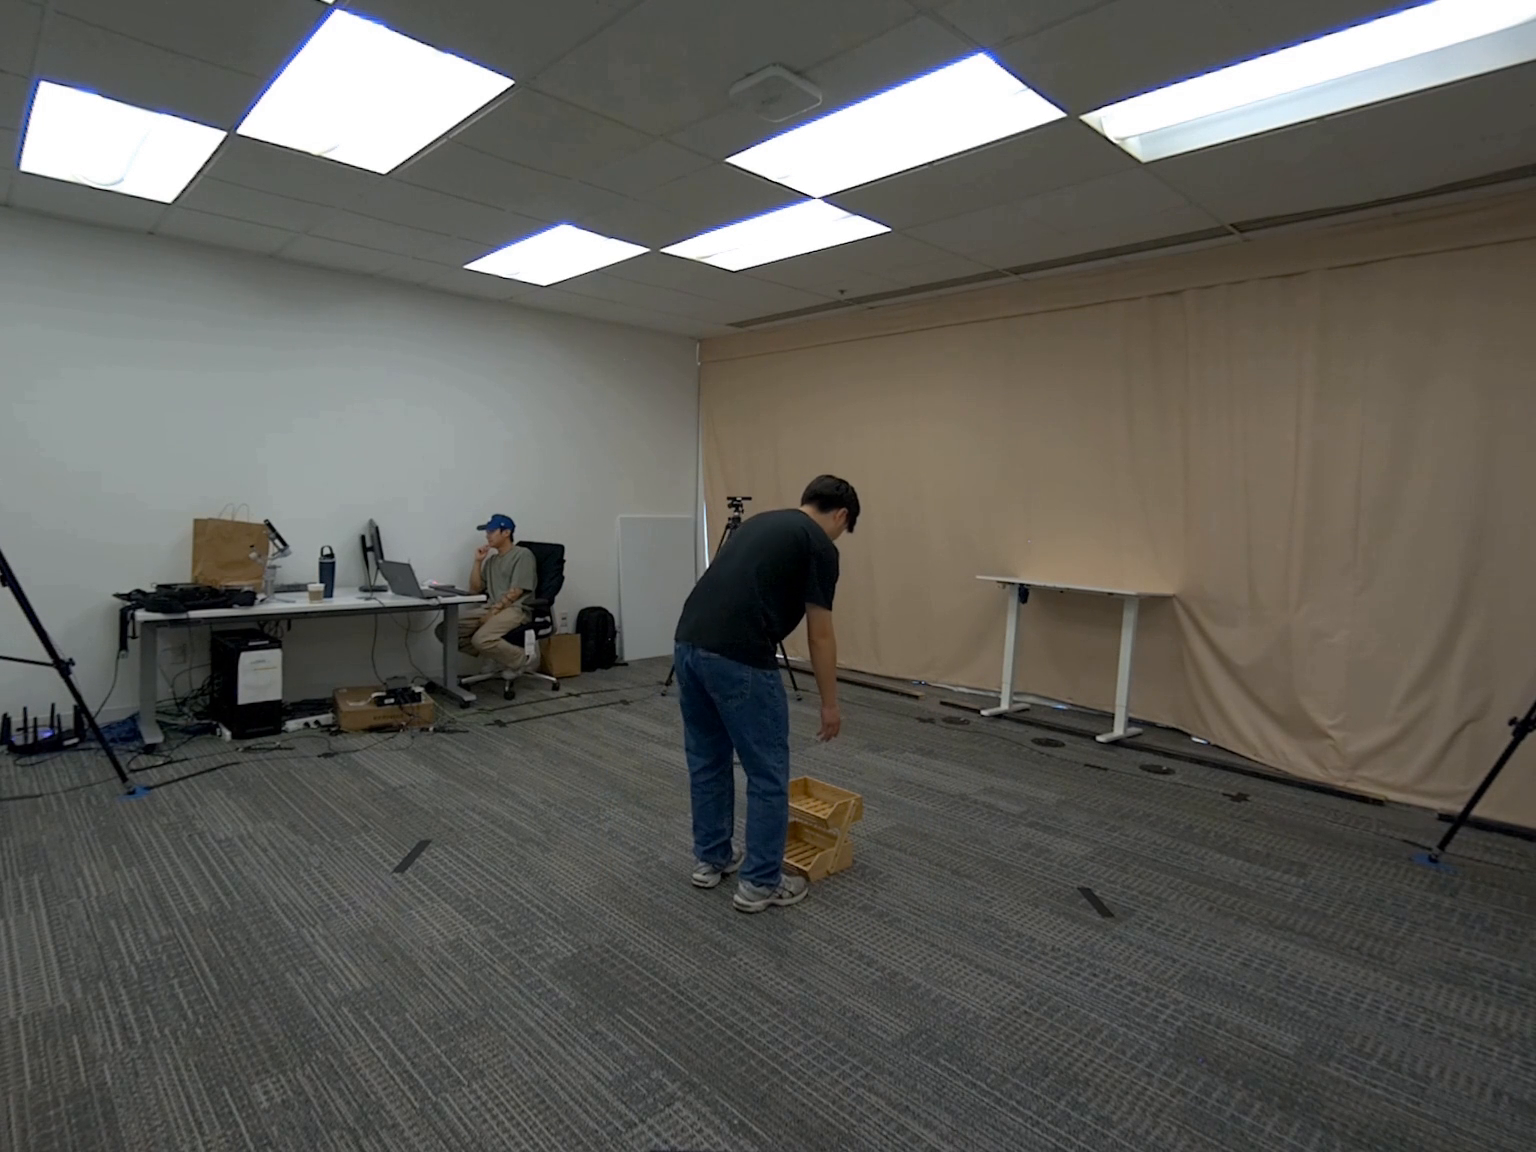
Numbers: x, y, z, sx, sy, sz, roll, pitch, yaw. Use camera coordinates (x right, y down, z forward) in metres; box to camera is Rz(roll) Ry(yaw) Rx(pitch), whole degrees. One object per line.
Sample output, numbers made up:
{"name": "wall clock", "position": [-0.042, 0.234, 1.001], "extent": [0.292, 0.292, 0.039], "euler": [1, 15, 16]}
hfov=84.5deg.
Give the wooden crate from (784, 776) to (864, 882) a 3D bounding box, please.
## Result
{"name": "wooden crate", "position": [0.144, 0.966, 3.258], "extent": [0.295, 0.273, 0.333], "euler": [-2, 5, -43]}
